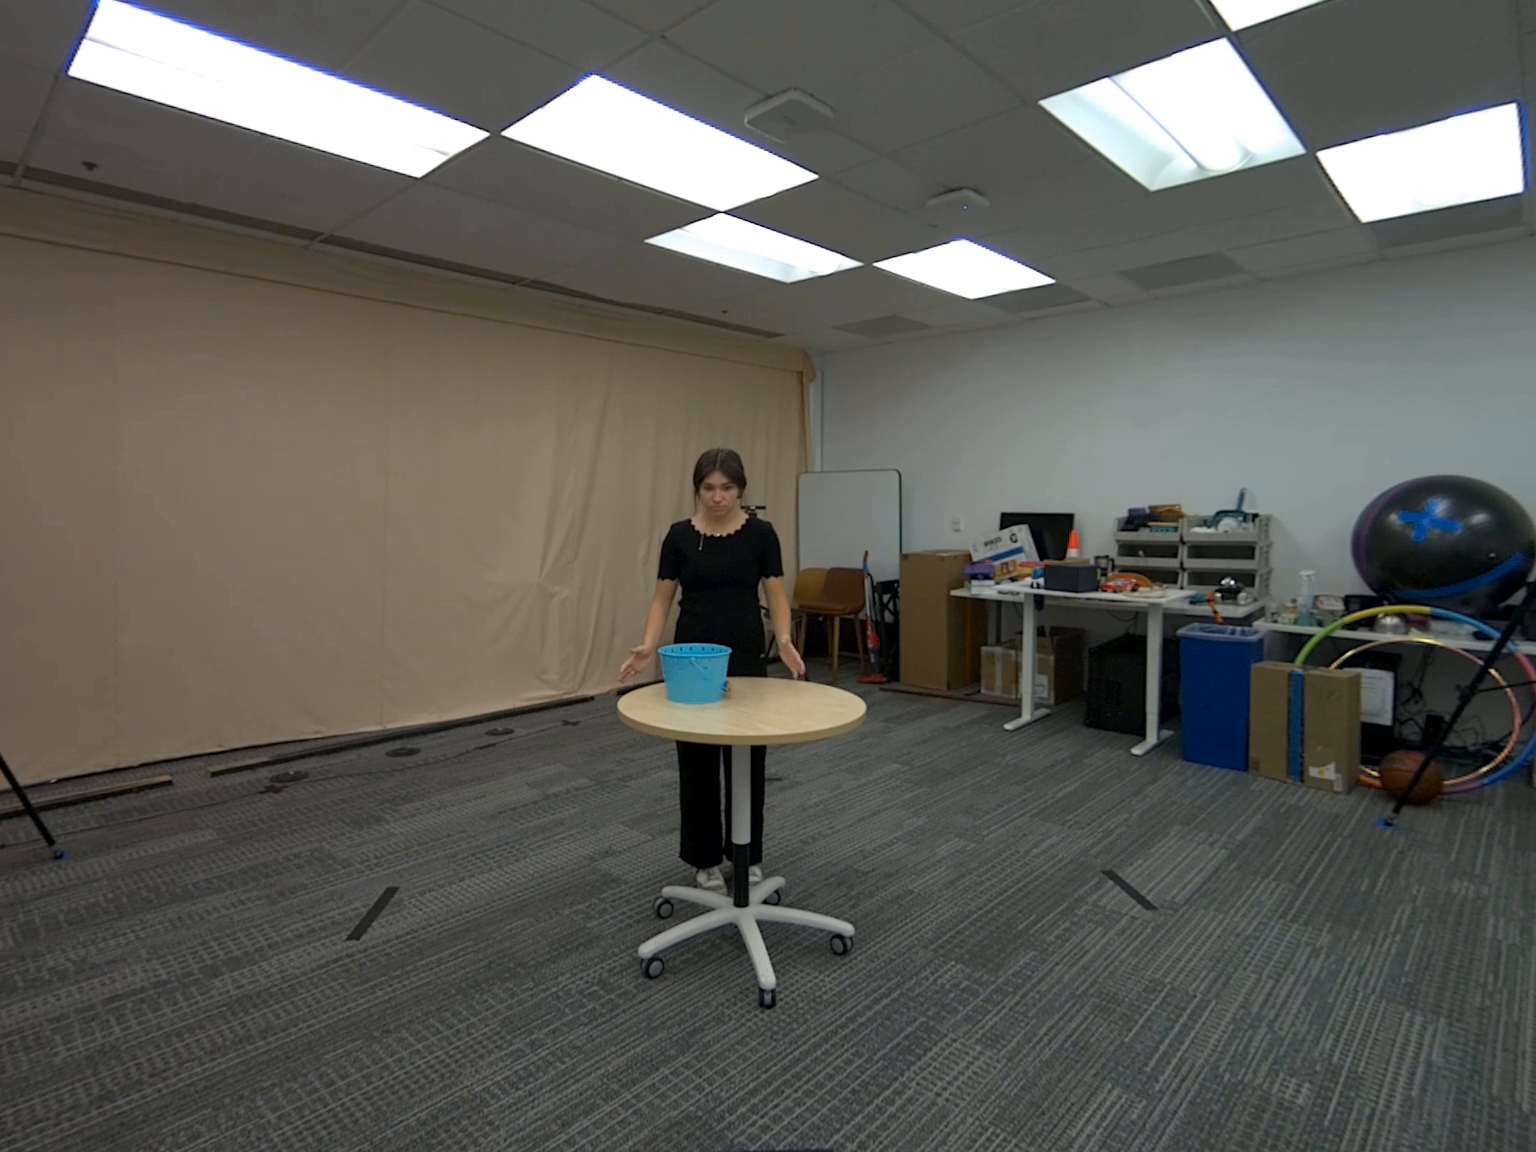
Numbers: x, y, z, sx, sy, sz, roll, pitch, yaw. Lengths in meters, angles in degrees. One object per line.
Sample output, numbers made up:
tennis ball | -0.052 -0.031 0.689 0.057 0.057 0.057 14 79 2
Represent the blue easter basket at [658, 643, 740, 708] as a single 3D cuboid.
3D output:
blue easter basket | -0.216 0.307 2.670 0.243 0.155 0.244 -1 4 -2
